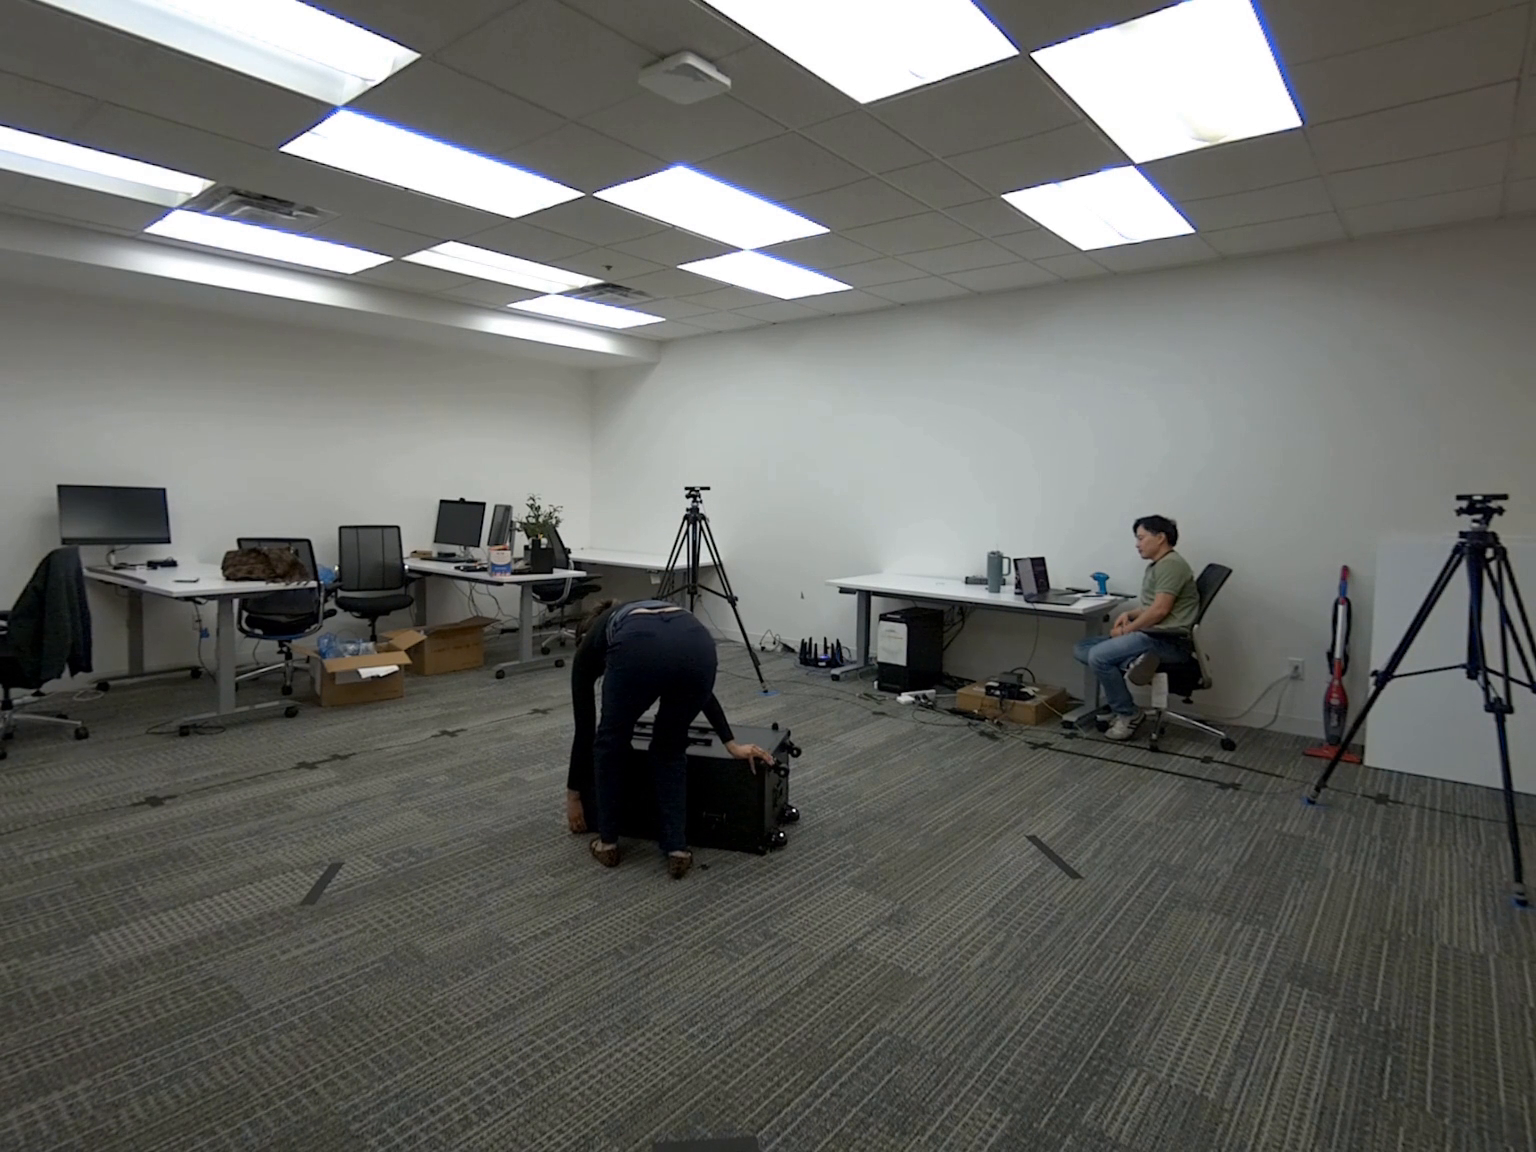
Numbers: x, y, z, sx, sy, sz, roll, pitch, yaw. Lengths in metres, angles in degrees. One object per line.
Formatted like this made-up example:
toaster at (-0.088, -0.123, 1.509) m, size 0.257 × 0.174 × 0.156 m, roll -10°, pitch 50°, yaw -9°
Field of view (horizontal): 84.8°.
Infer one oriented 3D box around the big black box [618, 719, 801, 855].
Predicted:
big black box at (-0.309, 0.822, 3.538) m, size 0.876 × 0.395 × 0.515 m, roll 4°, pitch 5°, yaw 14°
